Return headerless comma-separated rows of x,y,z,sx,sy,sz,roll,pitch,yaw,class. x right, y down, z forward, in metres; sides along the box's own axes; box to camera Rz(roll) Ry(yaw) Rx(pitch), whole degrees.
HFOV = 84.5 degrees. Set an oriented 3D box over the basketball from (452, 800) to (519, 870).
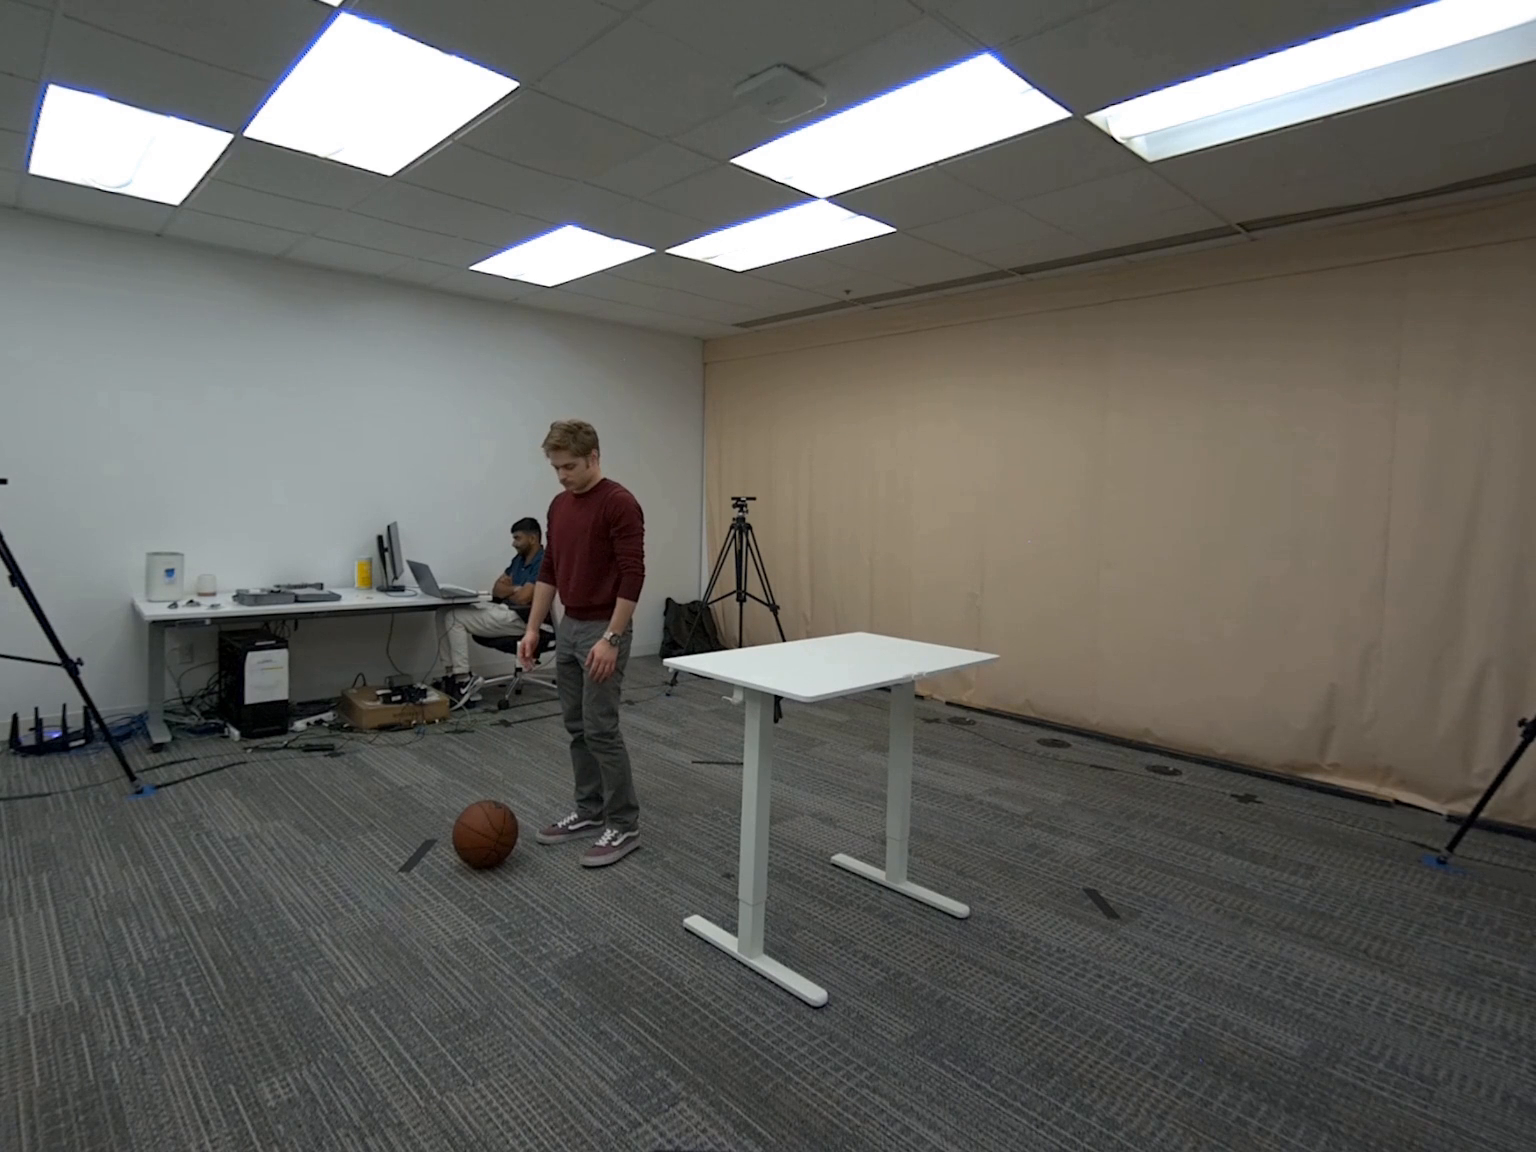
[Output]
-1.072,0.967,3.151,0.236,0.235,0.237,1,4,-1,basketball
